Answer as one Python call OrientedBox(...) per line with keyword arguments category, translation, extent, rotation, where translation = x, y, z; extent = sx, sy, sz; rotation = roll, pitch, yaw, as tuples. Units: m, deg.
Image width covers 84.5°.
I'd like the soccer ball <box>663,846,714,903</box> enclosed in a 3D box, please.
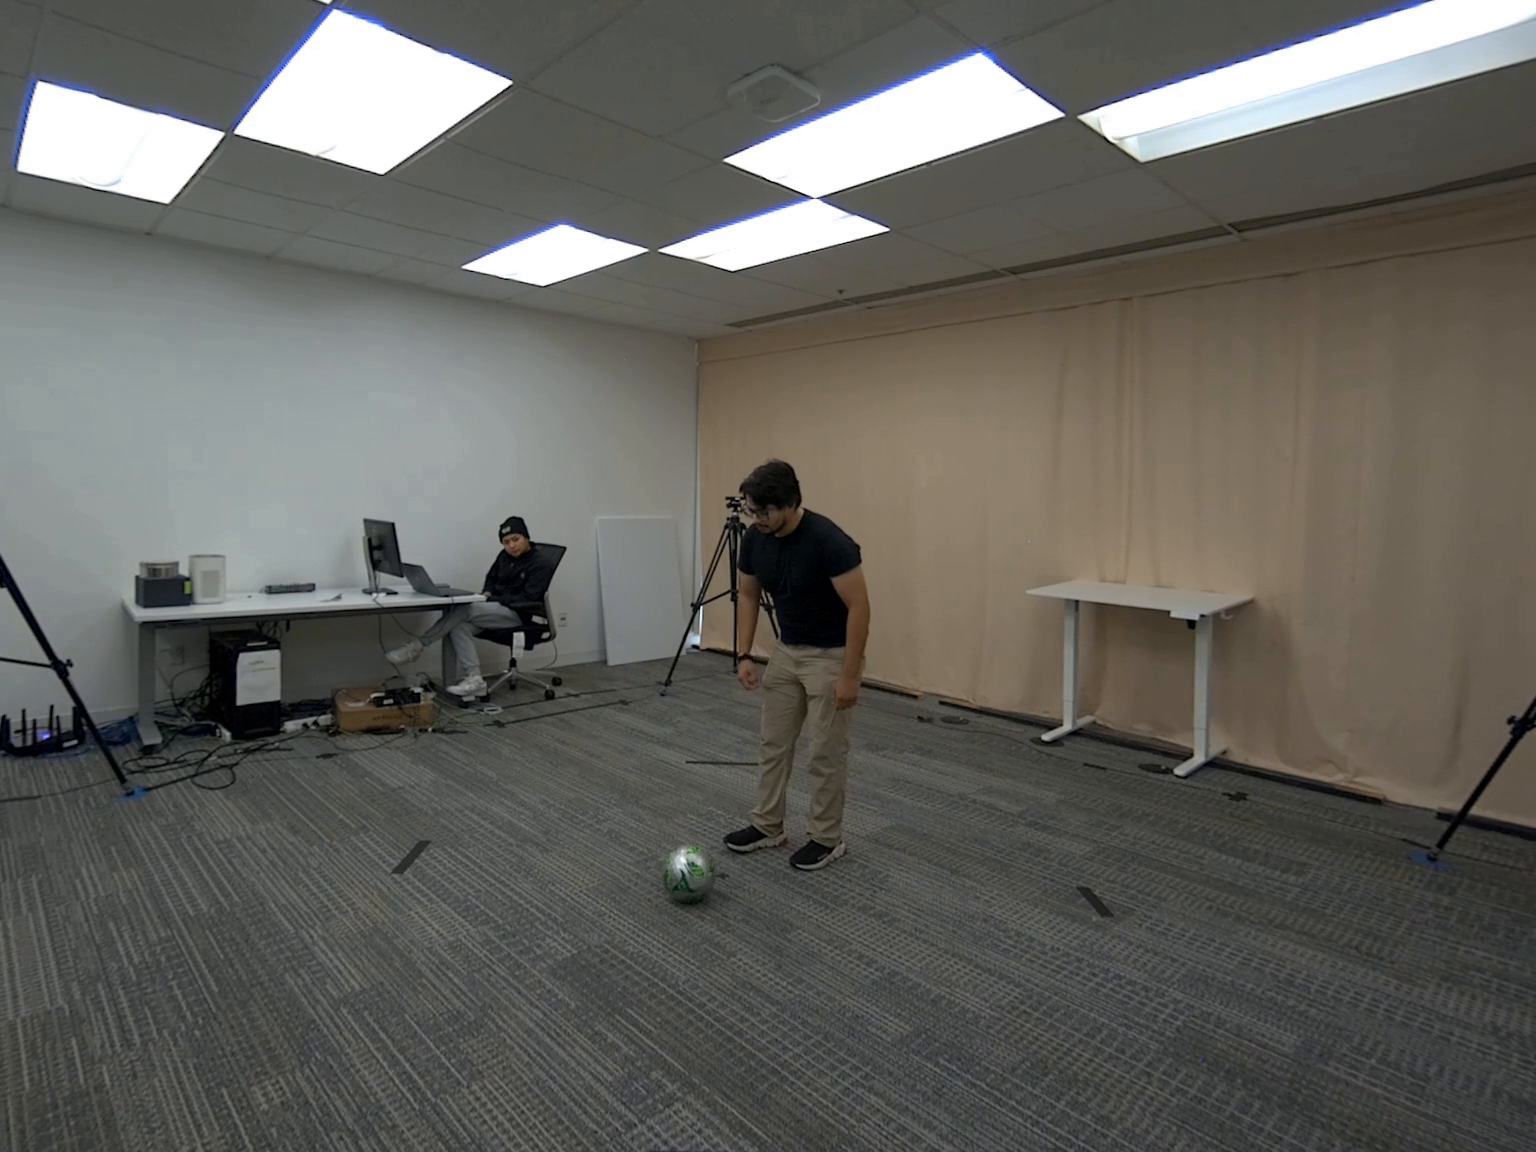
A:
OrientedBox(category="soccer ball", translation=(-0.282, 1.031, 2.910), extent=(0.187, 0.187, 0.188), rotation=(1, 4, -1))
